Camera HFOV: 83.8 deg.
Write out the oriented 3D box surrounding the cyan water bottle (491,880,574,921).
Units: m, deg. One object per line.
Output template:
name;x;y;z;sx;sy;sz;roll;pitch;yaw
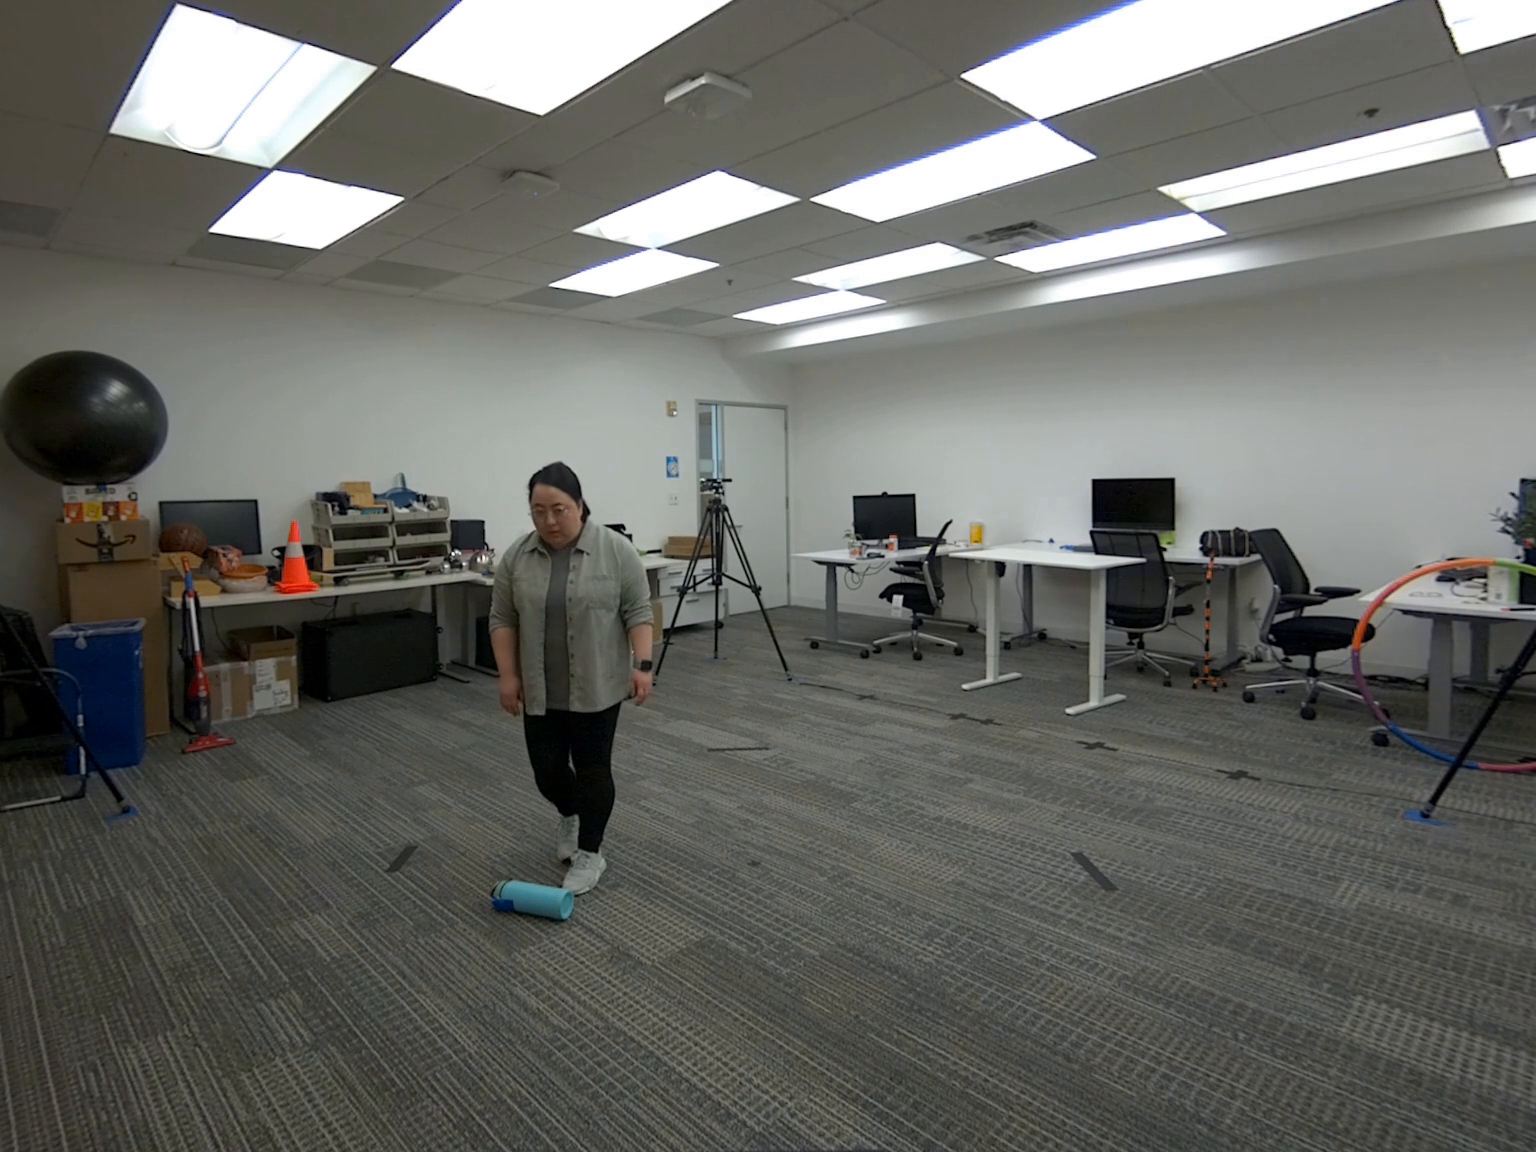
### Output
cyan water bottle;-0.776;1.052;2.785;0.289;0.092;0.091;1;5;19
